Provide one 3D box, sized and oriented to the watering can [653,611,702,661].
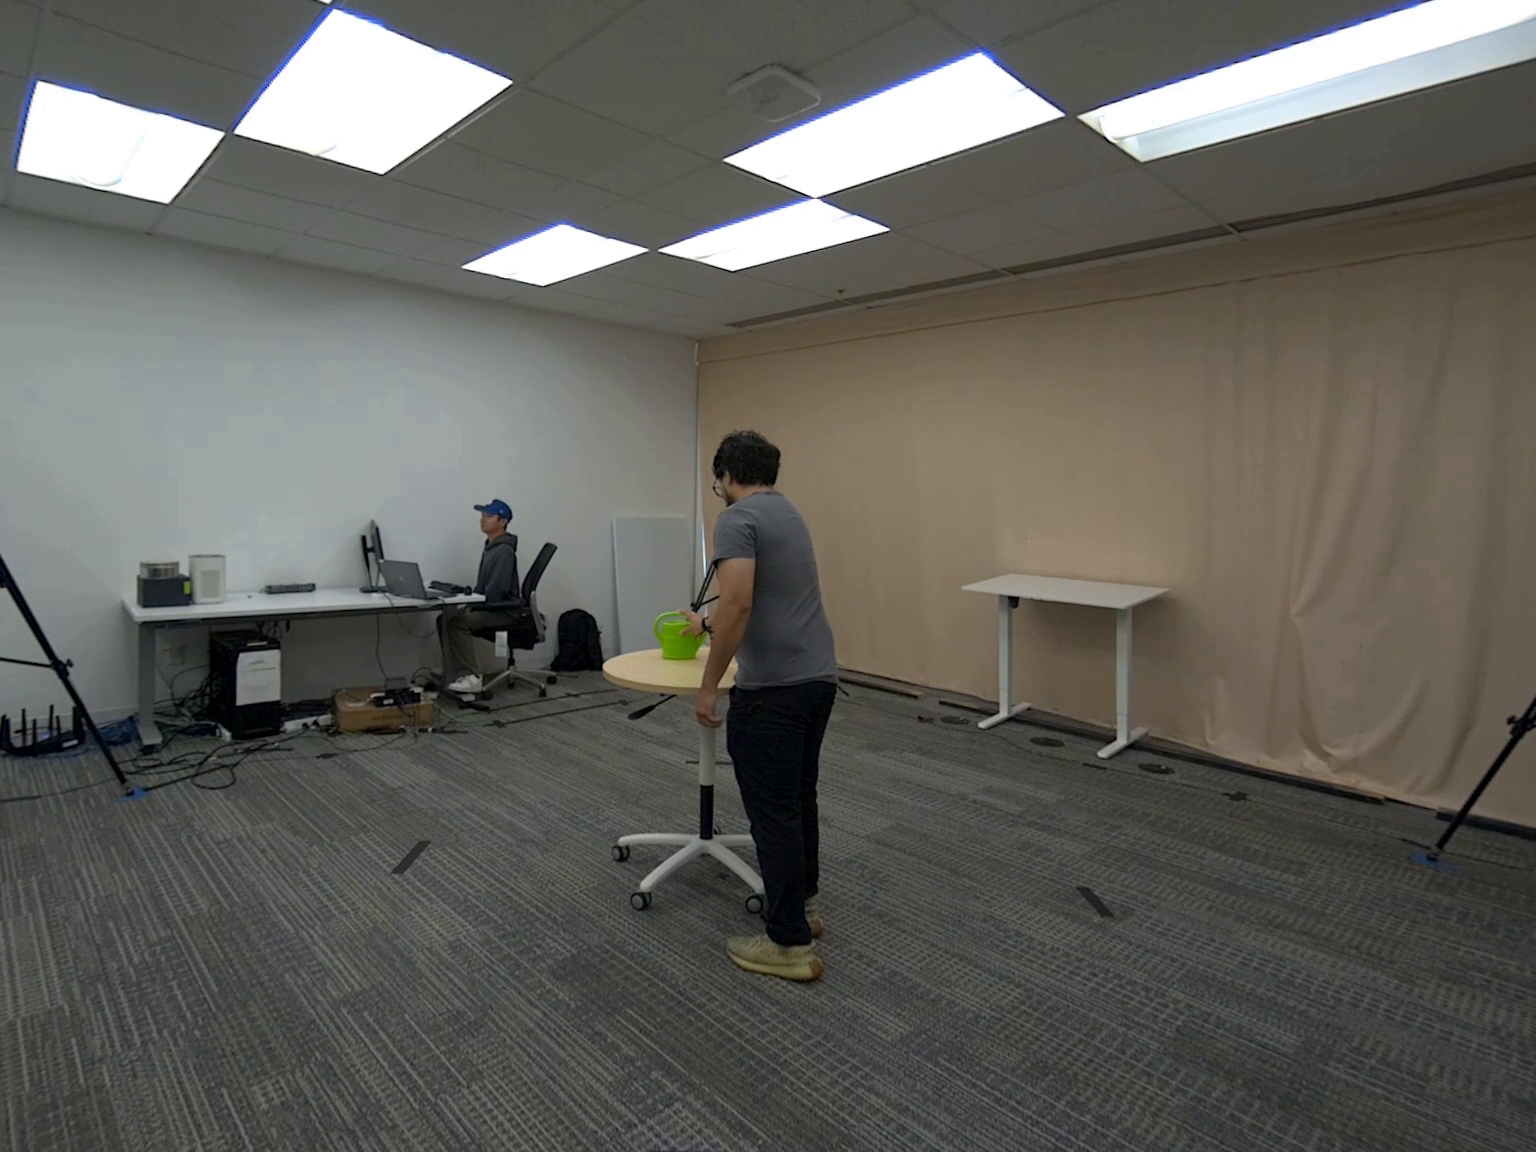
[{"bbox_3d":[-0.310,0.230,3.195,0.280,0.176,0.097,-1,2,8],"label":"watering can"}]
